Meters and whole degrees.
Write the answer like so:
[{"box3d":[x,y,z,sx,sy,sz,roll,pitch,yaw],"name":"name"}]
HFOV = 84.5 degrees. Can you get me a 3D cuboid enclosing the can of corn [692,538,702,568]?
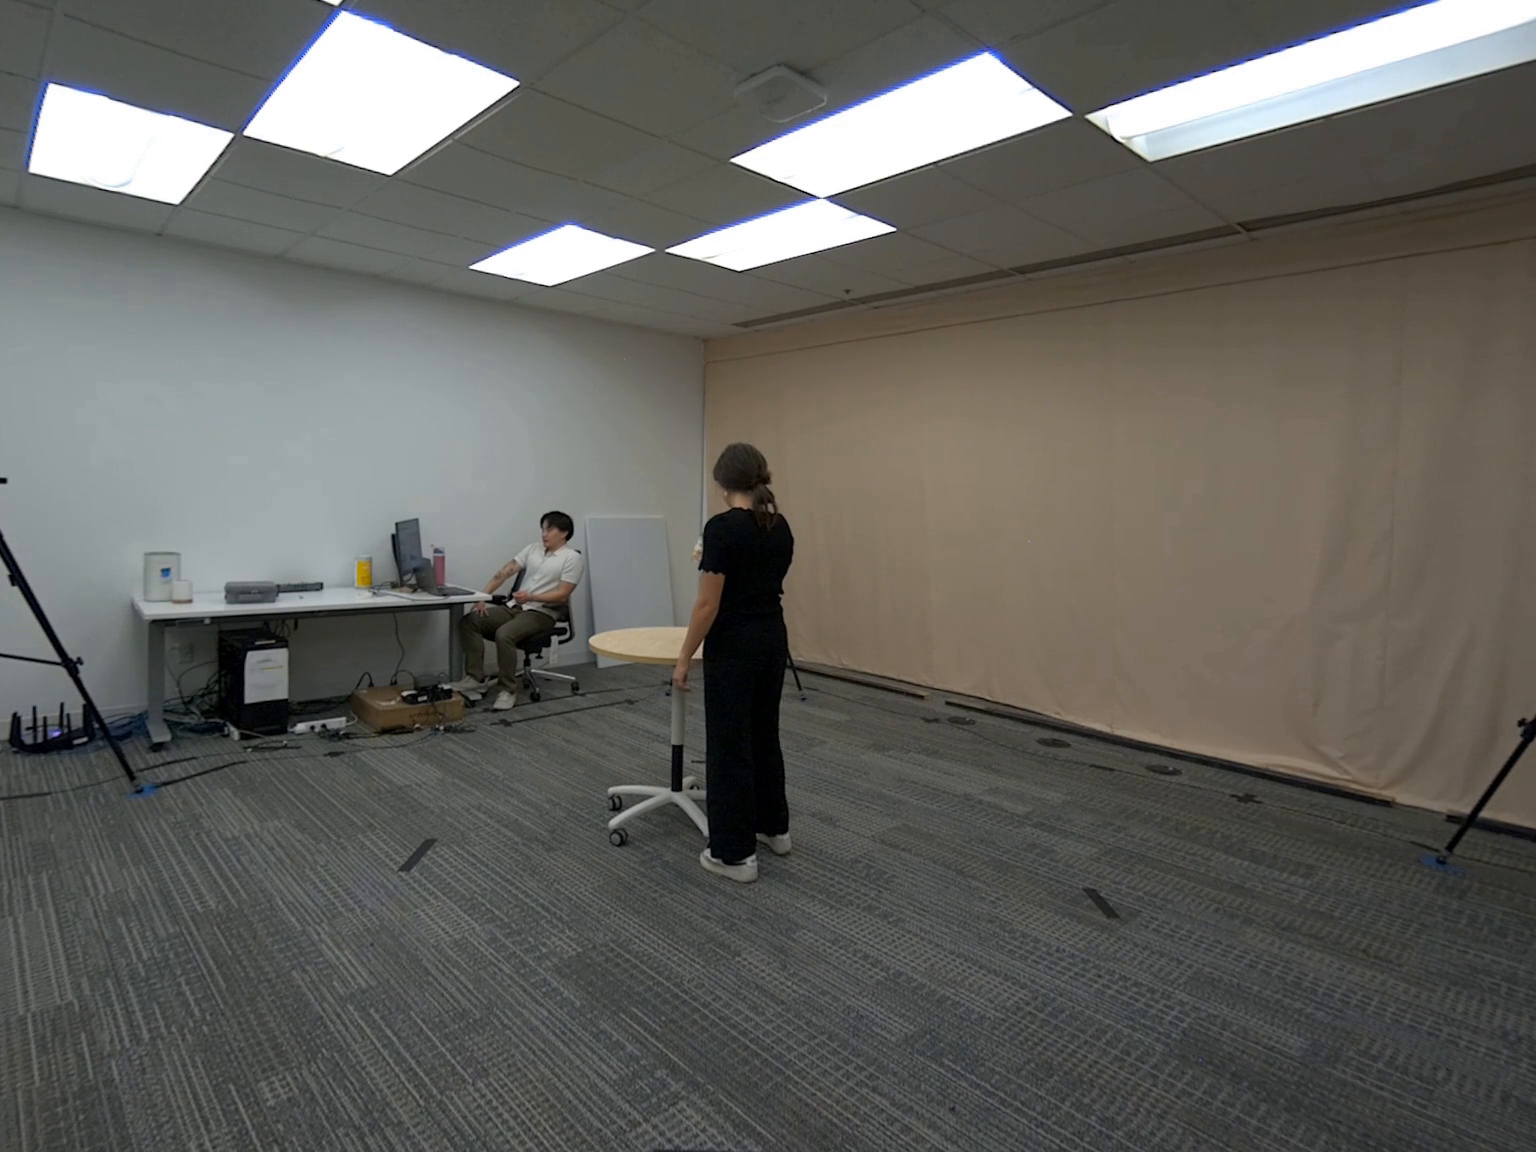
[{"box3d":[-0.282,-0.098,3.564,0.074,0.110,0.074,5,6,-2],"name":"can of corn"}]
